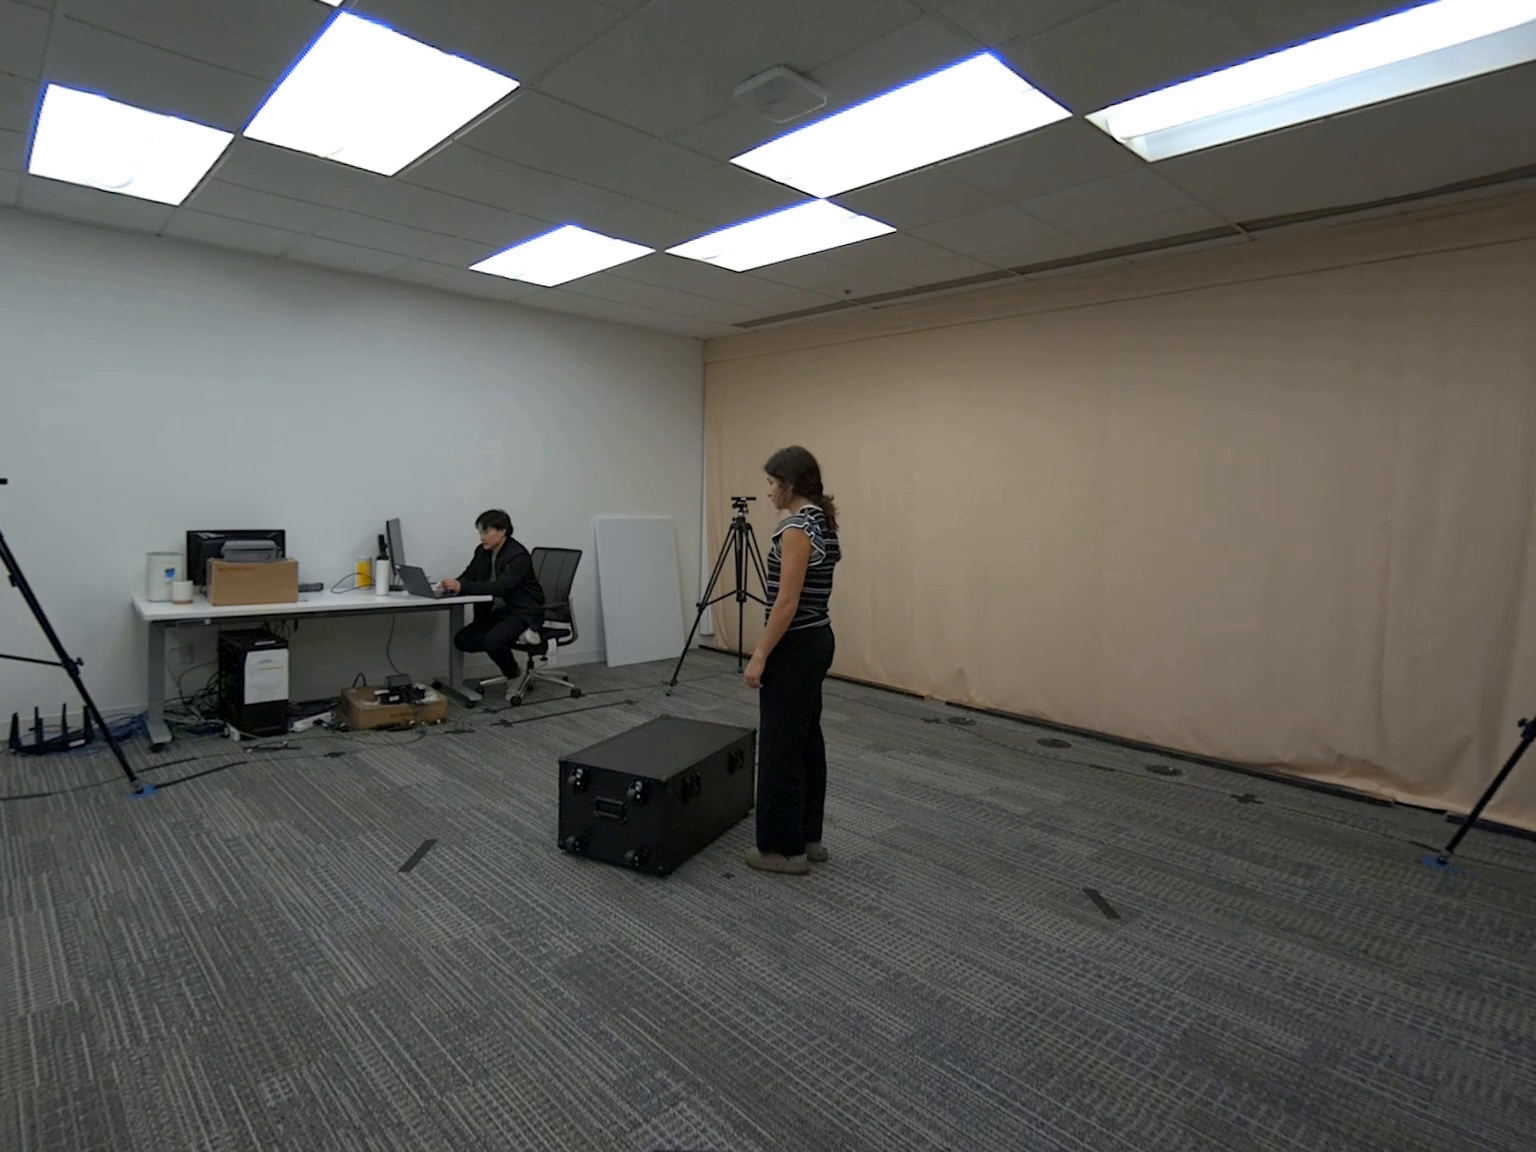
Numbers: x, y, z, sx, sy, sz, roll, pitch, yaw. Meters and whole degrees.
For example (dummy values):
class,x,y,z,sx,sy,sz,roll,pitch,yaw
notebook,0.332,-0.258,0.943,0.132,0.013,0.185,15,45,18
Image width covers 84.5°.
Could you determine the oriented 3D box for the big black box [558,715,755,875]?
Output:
class,x,y,z,sx,sy,sz,roll,pitch,yaw
big black box,-0.453,0.877,3.456,0.531,0.395,0.847,4,5,25
